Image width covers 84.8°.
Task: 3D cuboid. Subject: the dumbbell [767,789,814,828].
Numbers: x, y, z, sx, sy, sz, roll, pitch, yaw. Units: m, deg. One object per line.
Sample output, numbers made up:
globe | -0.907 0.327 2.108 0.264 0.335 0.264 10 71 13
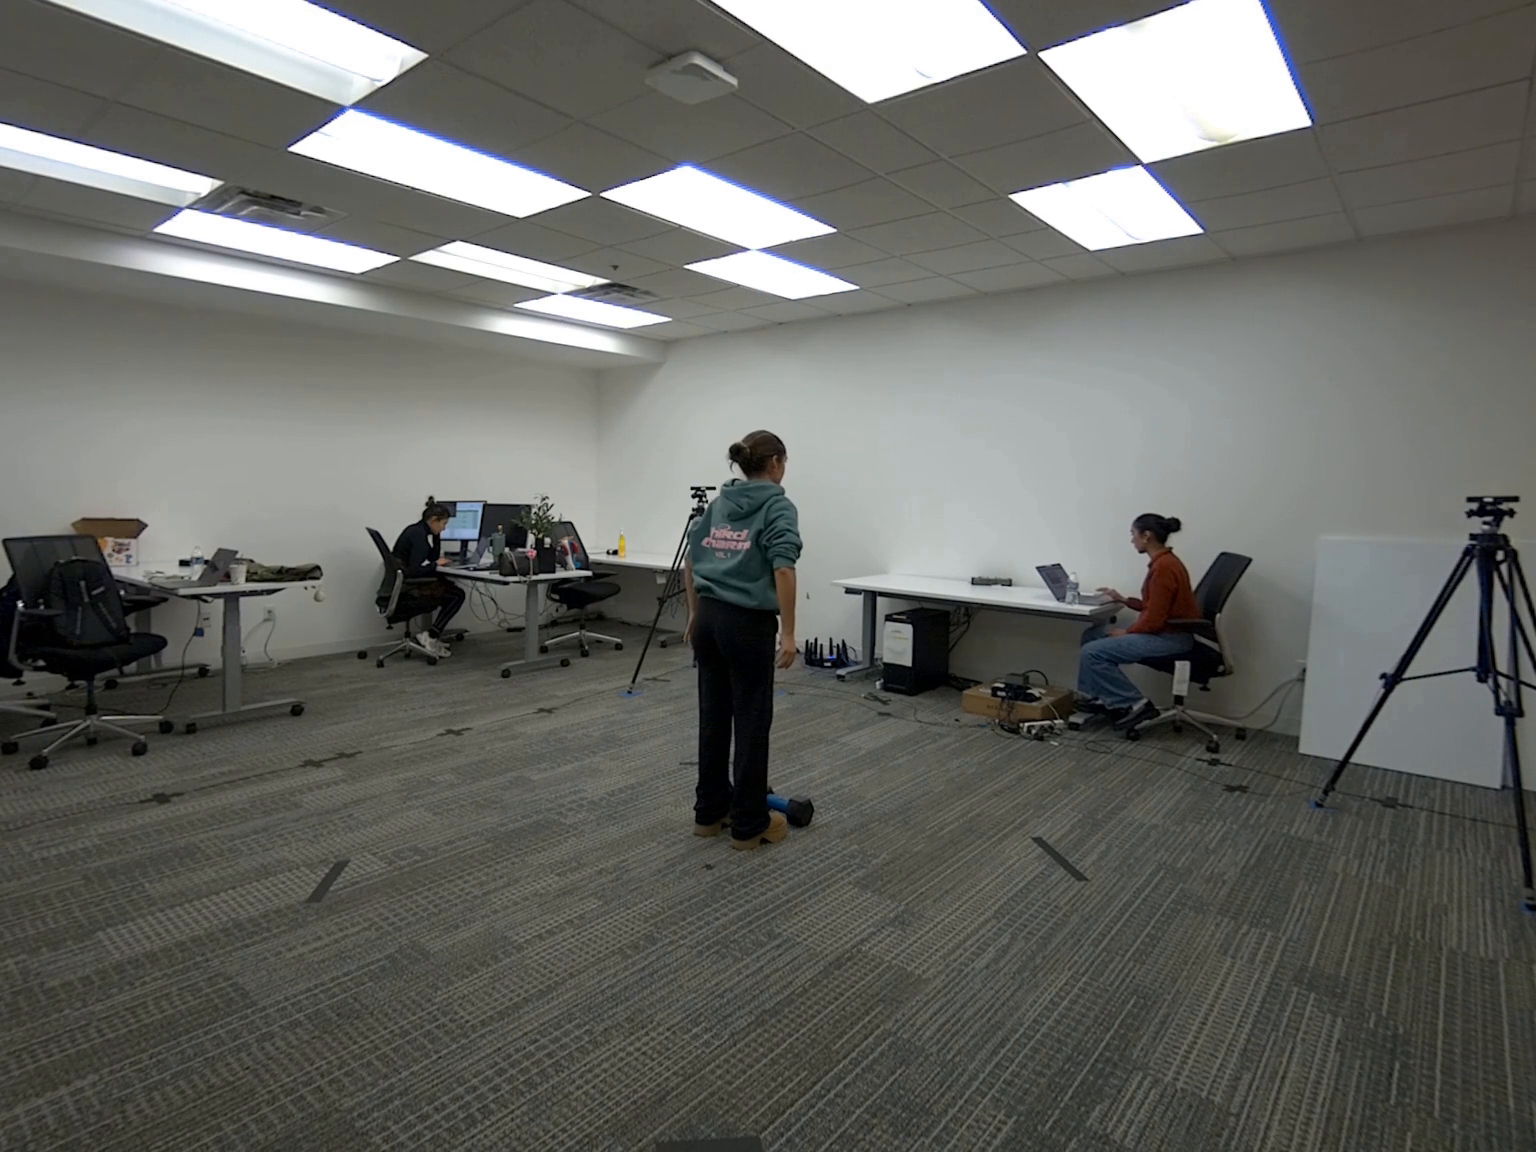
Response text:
dumbbell | 0.039 0.966 3.609 0.304 0.124 0.104 6 -25 41
